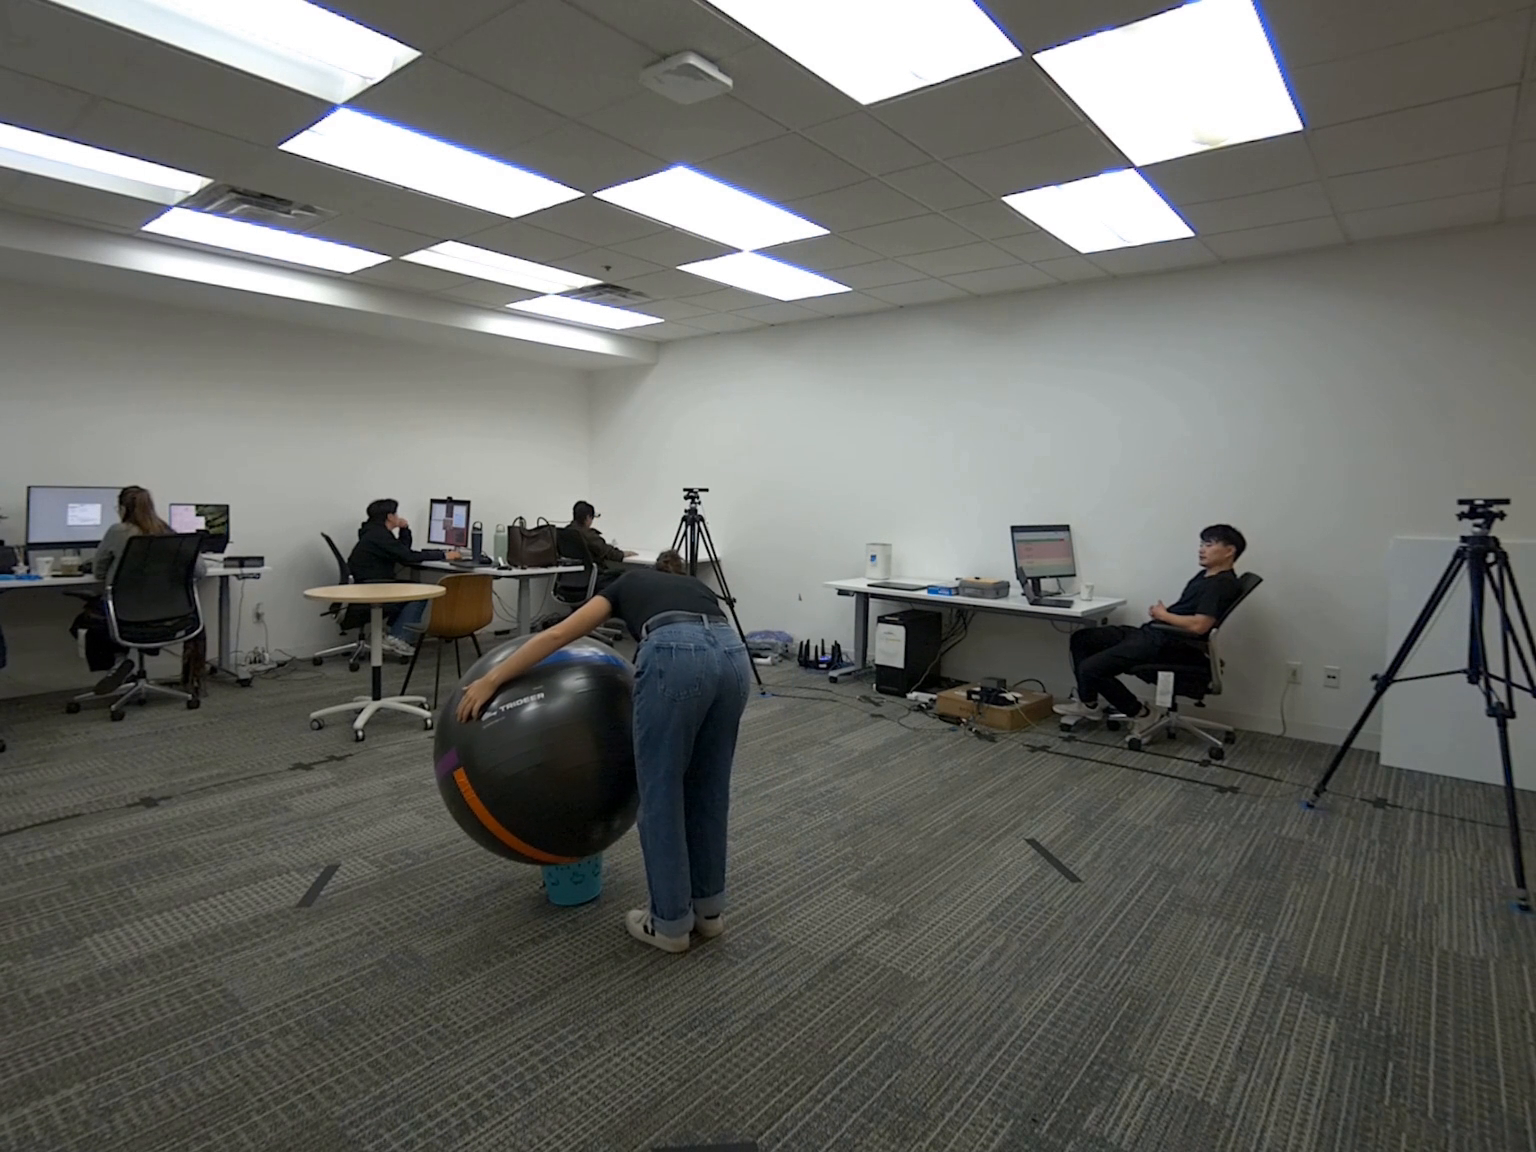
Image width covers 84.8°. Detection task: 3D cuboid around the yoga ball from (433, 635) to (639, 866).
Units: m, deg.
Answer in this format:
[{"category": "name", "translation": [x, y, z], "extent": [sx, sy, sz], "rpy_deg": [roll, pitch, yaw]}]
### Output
[{"category": "yoga ball", "translation": [-0.754, 0.576, 2.862], "extent": [0.757, 0.755, 0.762], "rpy_deg": [1, 4, -2]}]
